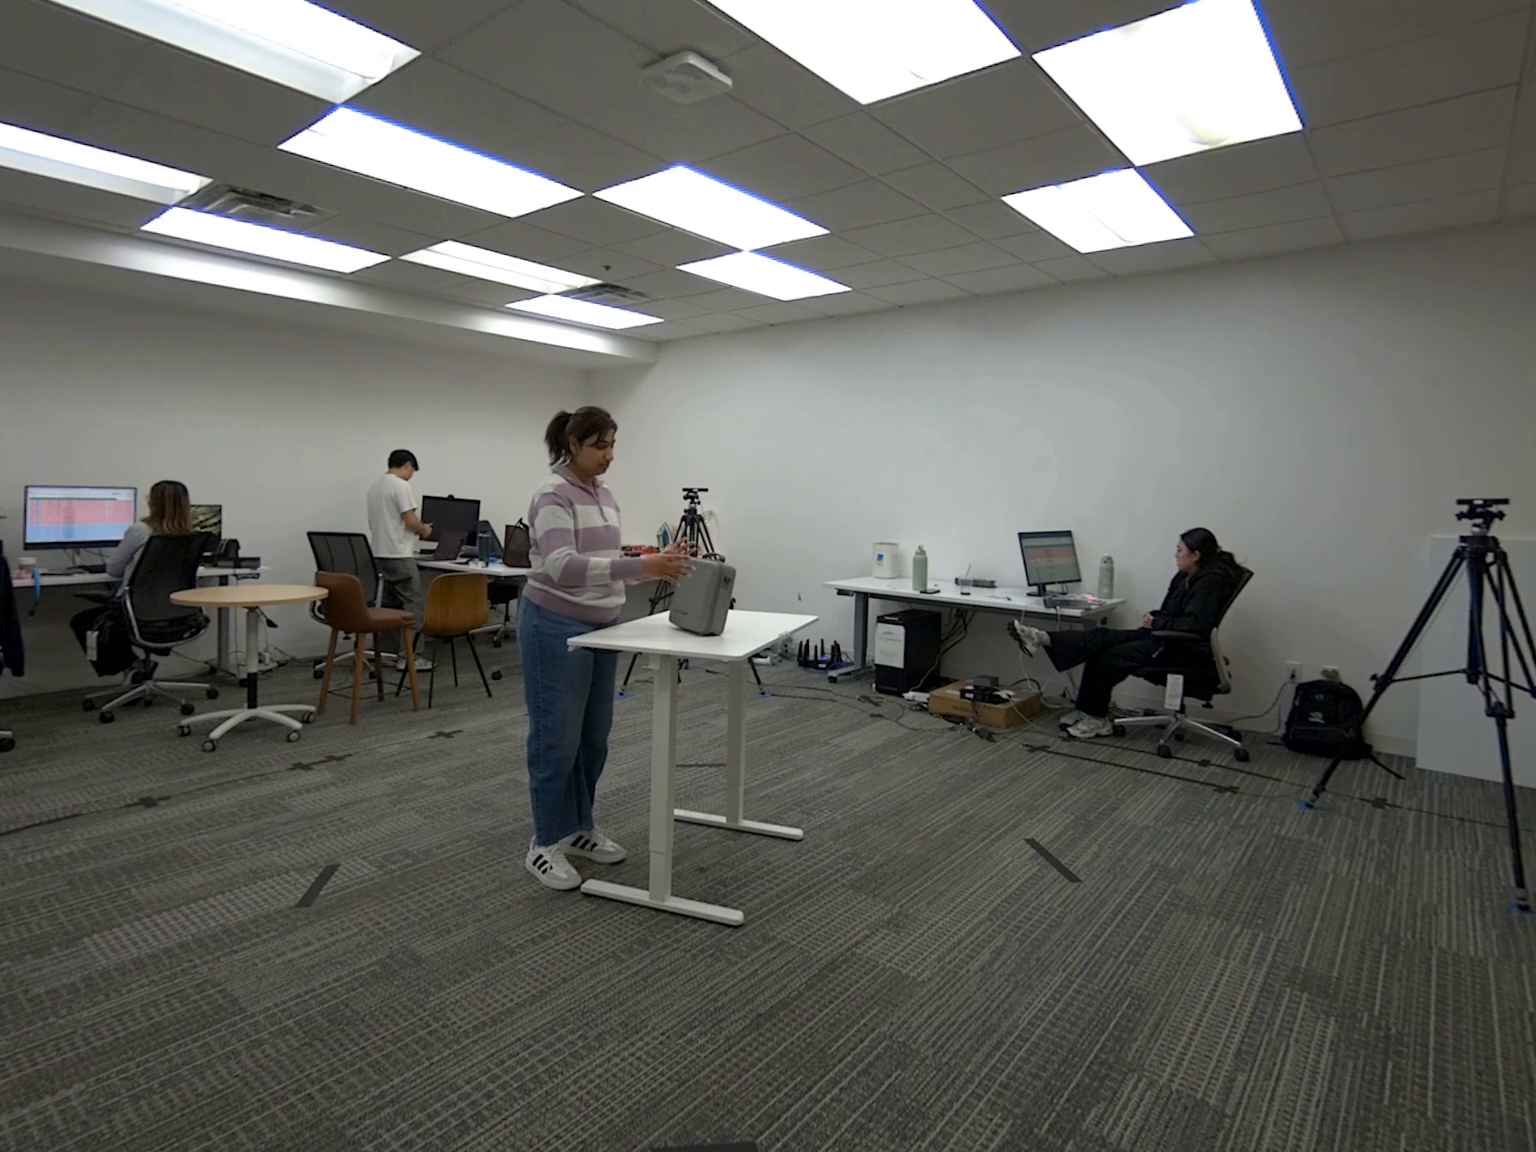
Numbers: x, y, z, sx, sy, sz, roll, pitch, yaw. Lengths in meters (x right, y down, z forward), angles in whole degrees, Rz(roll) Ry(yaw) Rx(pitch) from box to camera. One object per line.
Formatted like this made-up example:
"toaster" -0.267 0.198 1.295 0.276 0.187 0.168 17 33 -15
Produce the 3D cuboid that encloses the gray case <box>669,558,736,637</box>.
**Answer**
"gray case" -0.245 0.065 3.010 0.101 0.261 0.265 14 -3 -32
